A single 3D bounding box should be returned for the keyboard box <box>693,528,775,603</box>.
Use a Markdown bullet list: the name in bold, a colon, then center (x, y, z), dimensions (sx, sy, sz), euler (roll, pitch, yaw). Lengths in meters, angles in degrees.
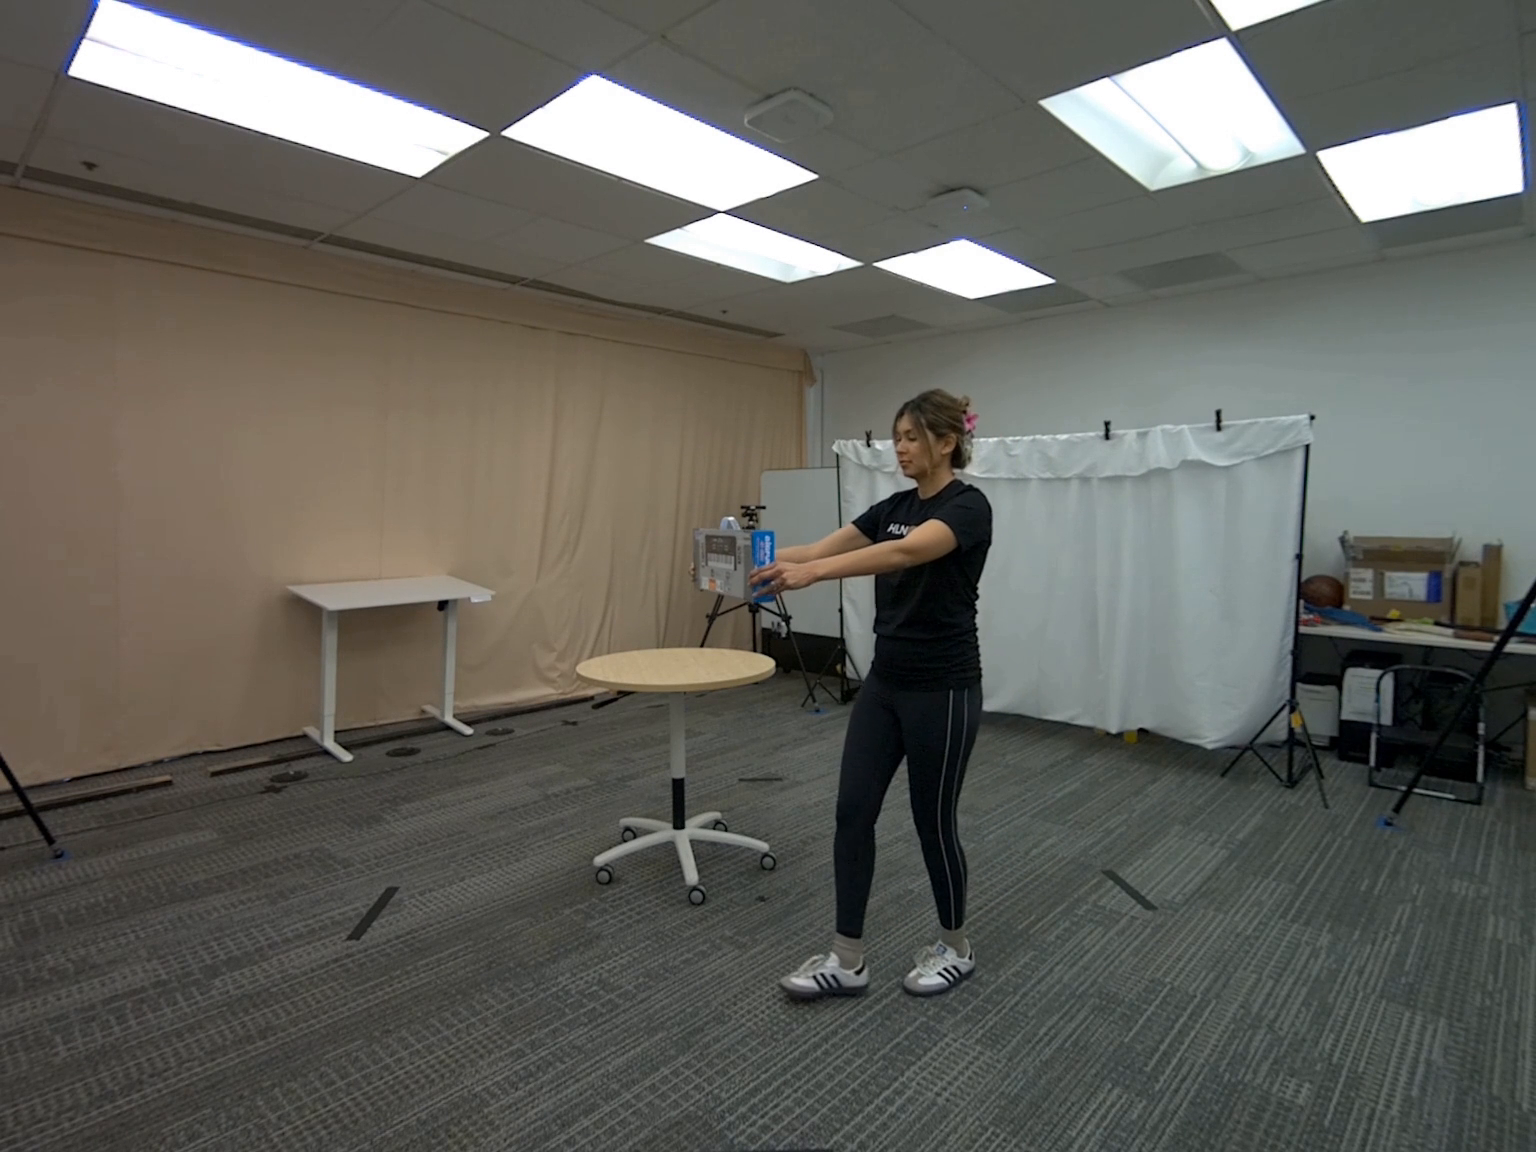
- **keyboard box**: center (-0.095, -0.034, 2.202), dimensions (0.058, 0.175, 0.447), euler (-2, 4, -24)
